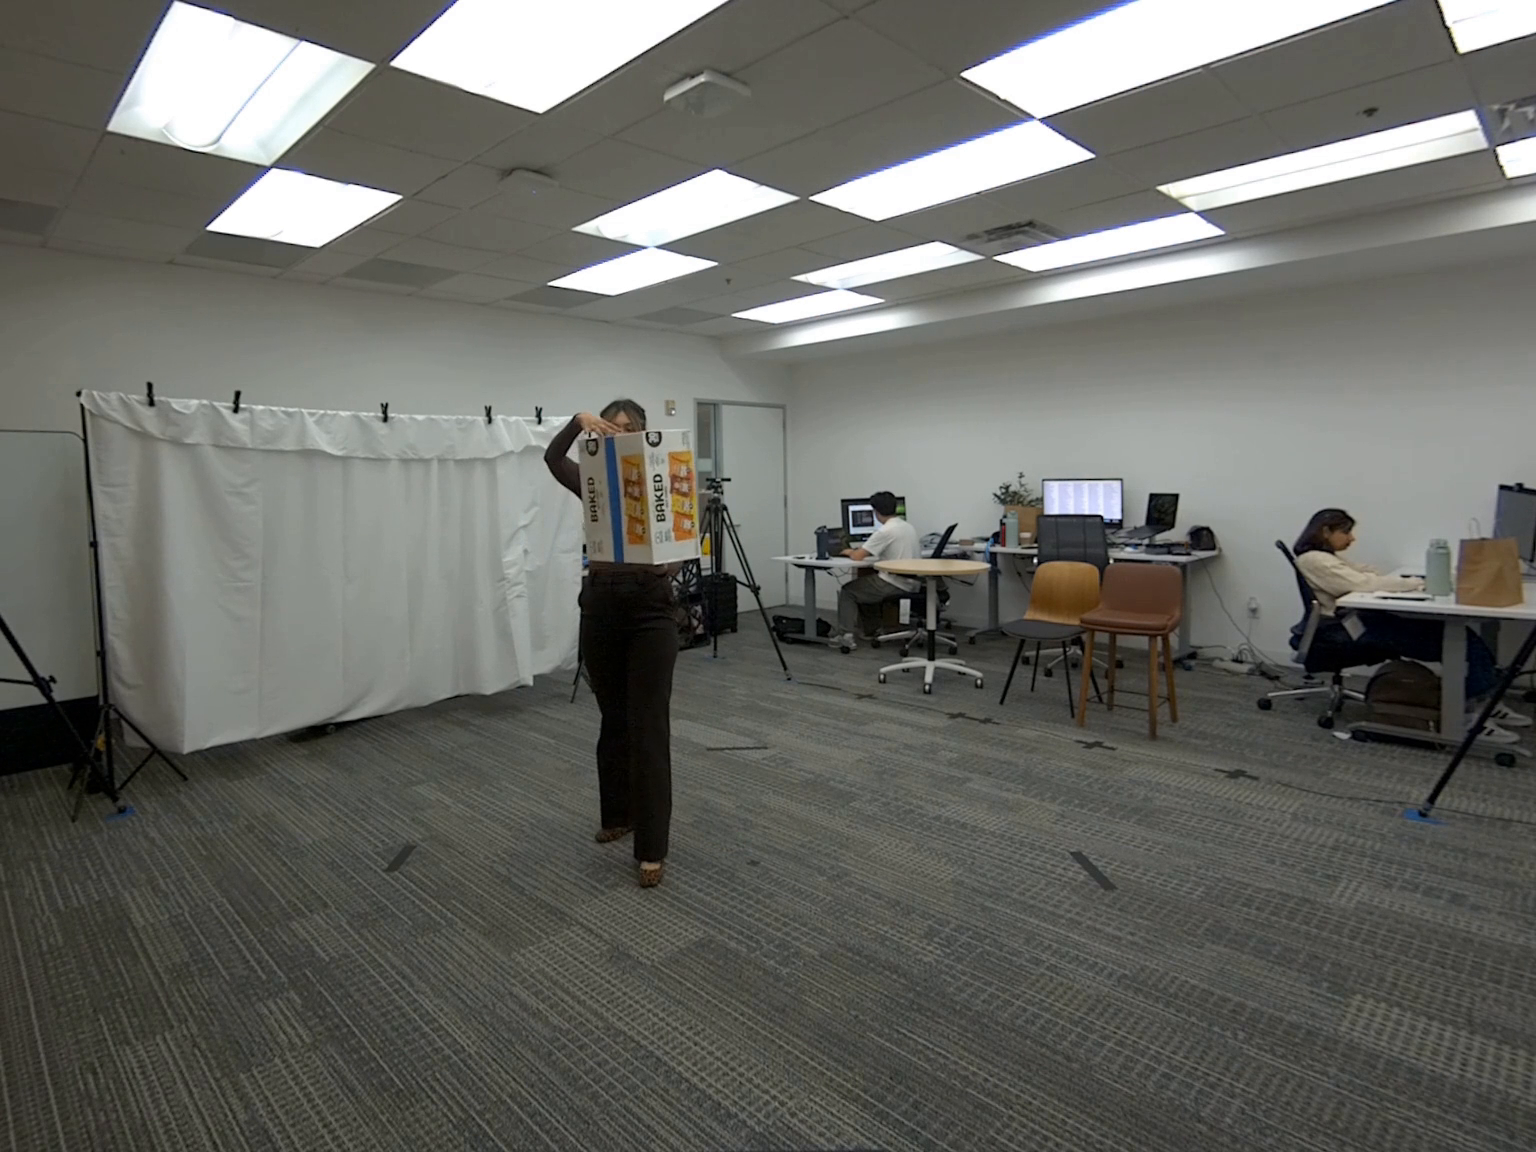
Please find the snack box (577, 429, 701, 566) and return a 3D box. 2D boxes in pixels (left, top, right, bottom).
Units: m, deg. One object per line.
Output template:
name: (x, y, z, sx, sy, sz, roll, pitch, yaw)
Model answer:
snack box: (-0.416, -0.253, 2.749, 0.350, 0.403, 0.200, 1, 7, 45)
